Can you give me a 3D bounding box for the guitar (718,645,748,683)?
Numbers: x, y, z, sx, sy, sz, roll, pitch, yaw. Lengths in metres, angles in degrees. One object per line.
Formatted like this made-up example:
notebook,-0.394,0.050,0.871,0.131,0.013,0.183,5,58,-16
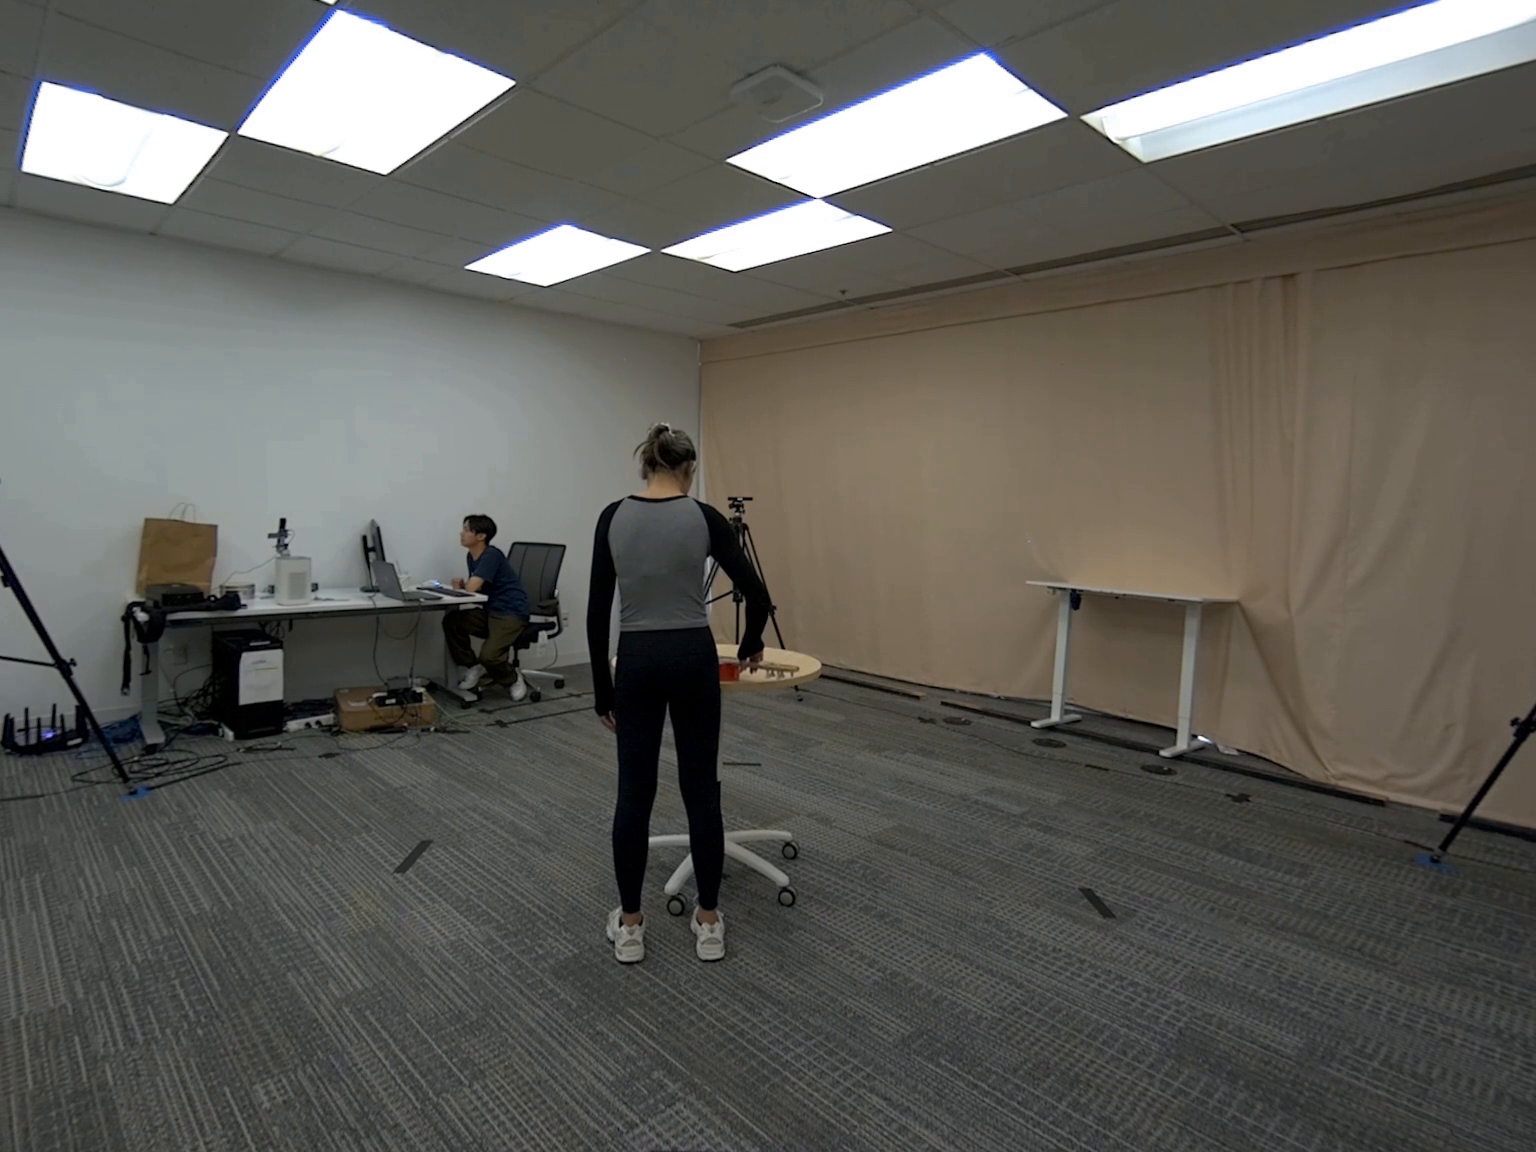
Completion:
guitar,-0.146,0.314,2.751,0.510,0.070,0.188,5,4,41
